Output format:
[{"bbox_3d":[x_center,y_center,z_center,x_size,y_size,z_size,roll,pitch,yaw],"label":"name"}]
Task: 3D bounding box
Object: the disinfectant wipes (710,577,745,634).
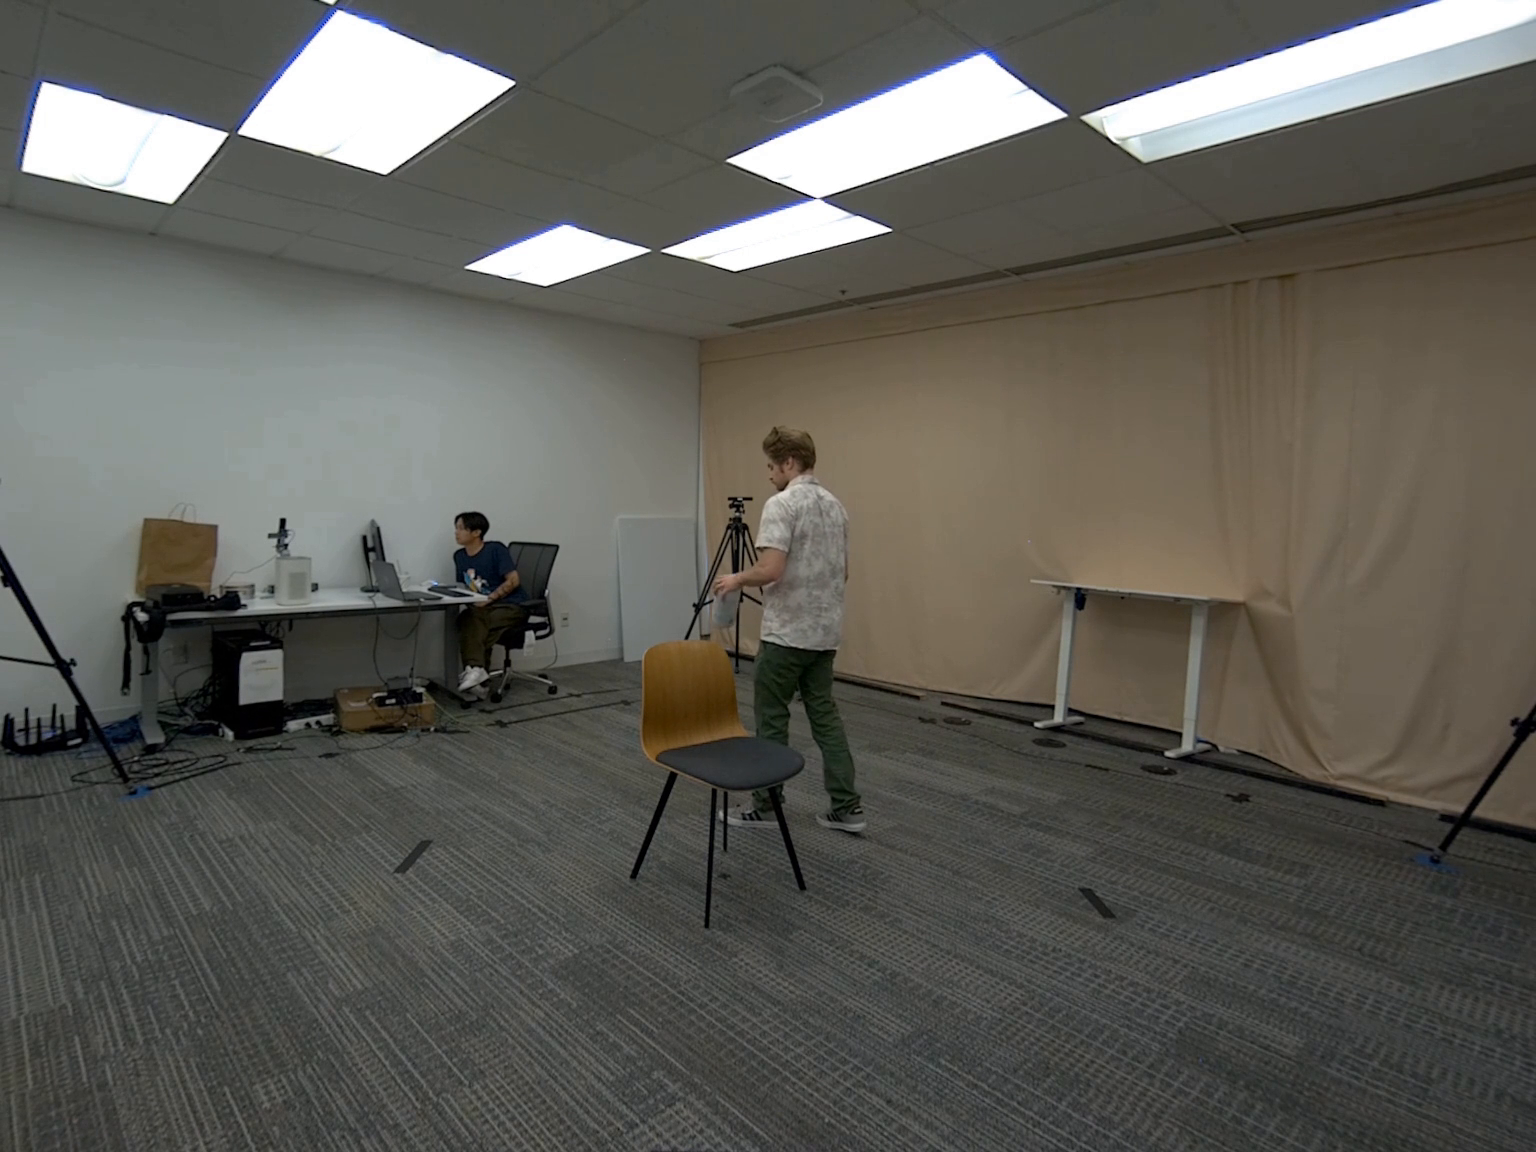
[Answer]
[{"bbox_3d":[-0.179,0.127,3.692,0.117,0.214,0.120,6,41,-7],"label":"disinfectant wipes"}]
